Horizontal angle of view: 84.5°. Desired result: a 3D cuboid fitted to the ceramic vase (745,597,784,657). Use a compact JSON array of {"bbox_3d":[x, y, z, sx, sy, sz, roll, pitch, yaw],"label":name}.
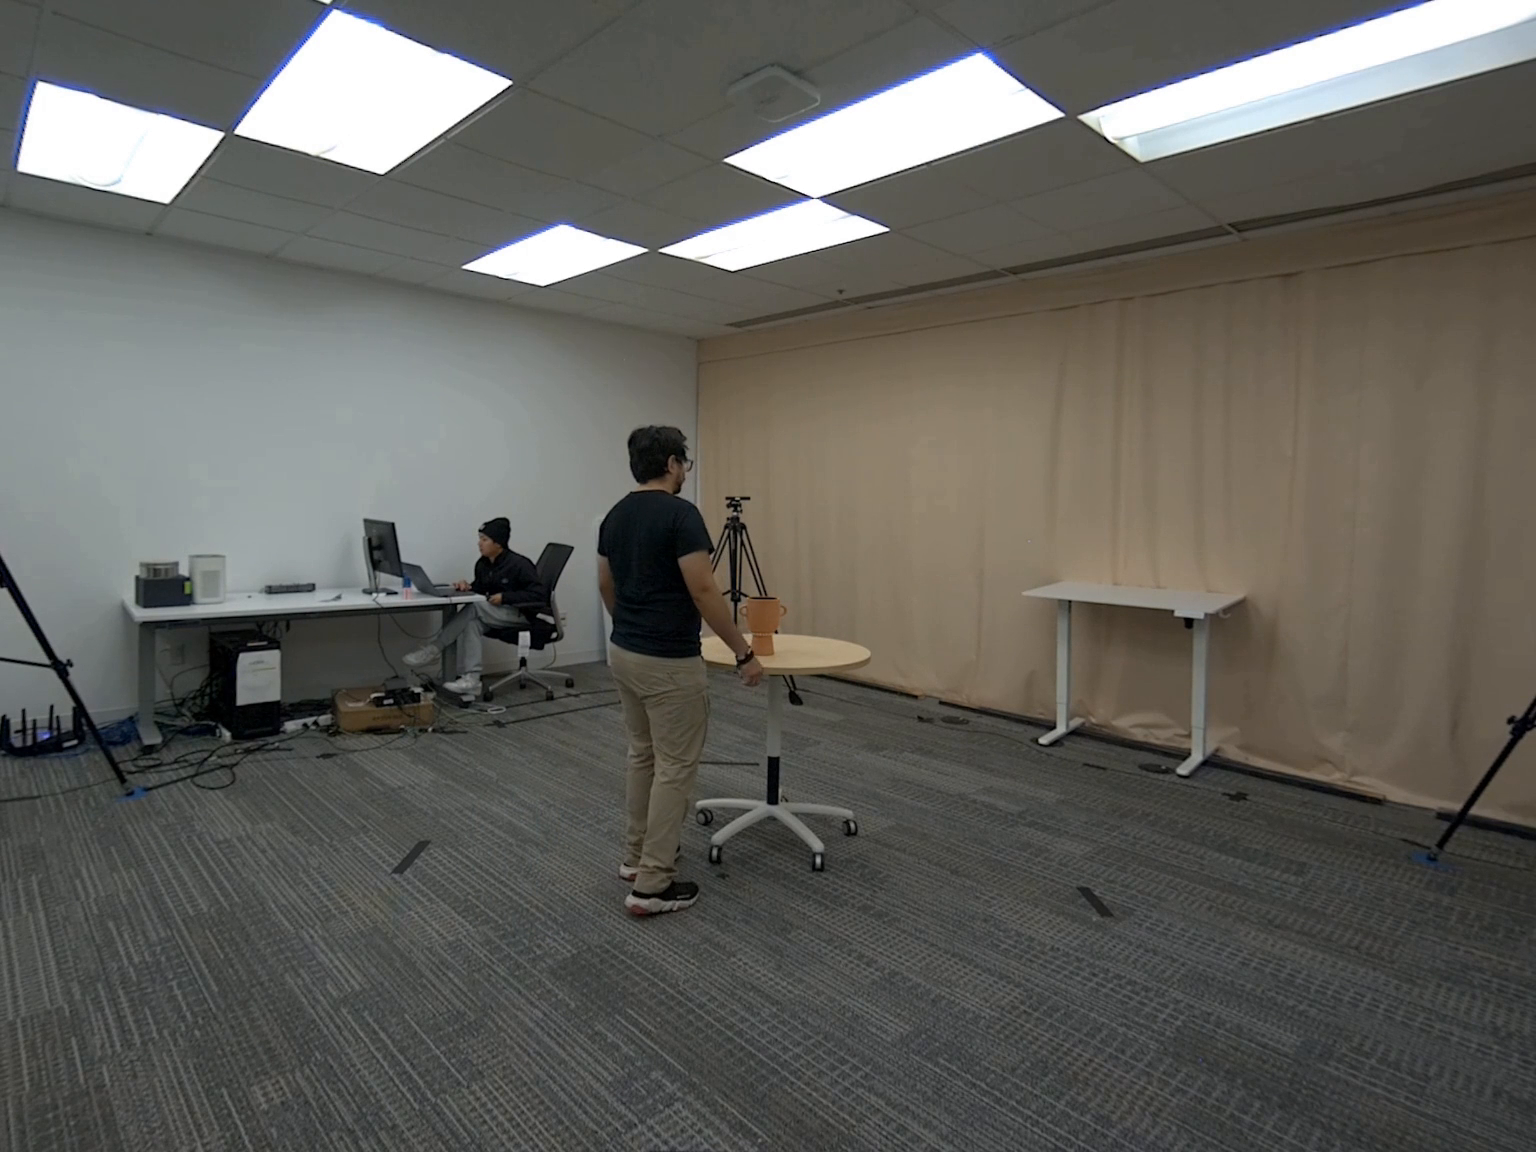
[{"bbox_3d":[-0.025,0.200,3.333,0.162,0.219,0.132,3,4,23],"label":"ceramic vase"}]
